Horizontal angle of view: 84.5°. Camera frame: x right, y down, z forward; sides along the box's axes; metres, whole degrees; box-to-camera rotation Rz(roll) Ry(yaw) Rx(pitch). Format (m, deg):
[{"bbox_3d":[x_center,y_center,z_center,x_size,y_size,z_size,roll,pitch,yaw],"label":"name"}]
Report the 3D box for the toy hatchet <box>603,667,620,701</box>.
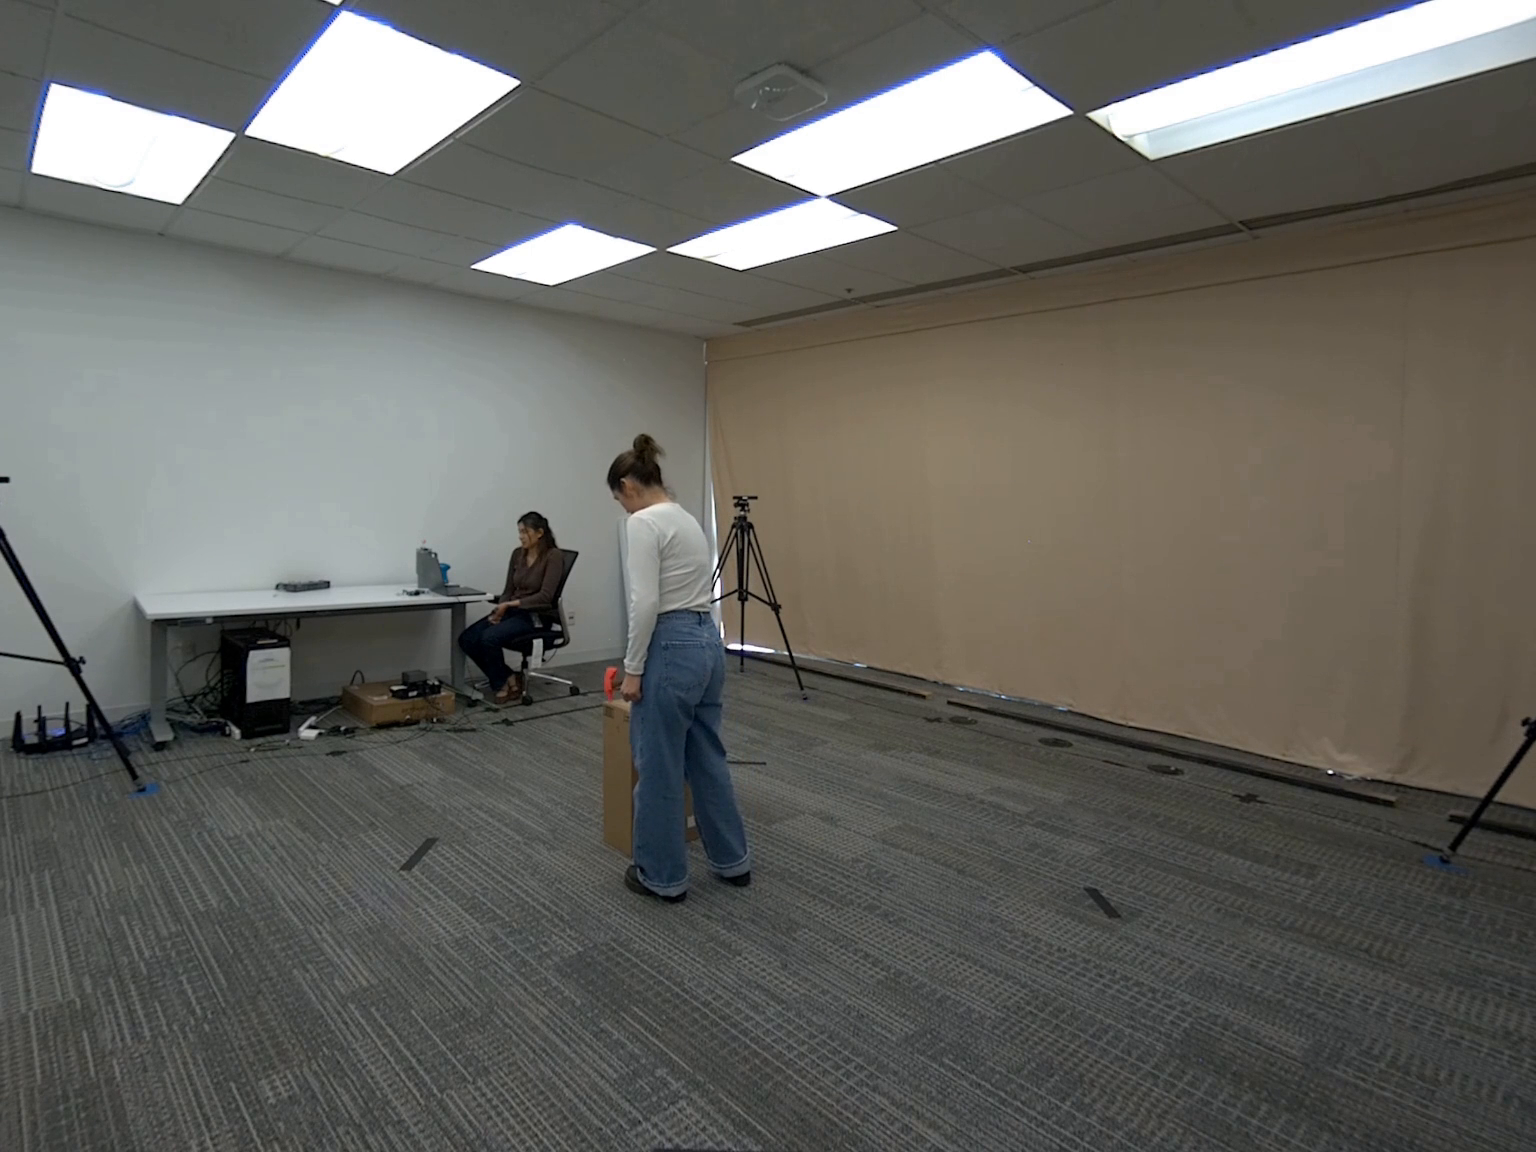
[{"bbox_3d":[-0.557,0.373,3.313,0.271,0.134,0.029,-40,-31,29],"label":"toy hatchet"}]
